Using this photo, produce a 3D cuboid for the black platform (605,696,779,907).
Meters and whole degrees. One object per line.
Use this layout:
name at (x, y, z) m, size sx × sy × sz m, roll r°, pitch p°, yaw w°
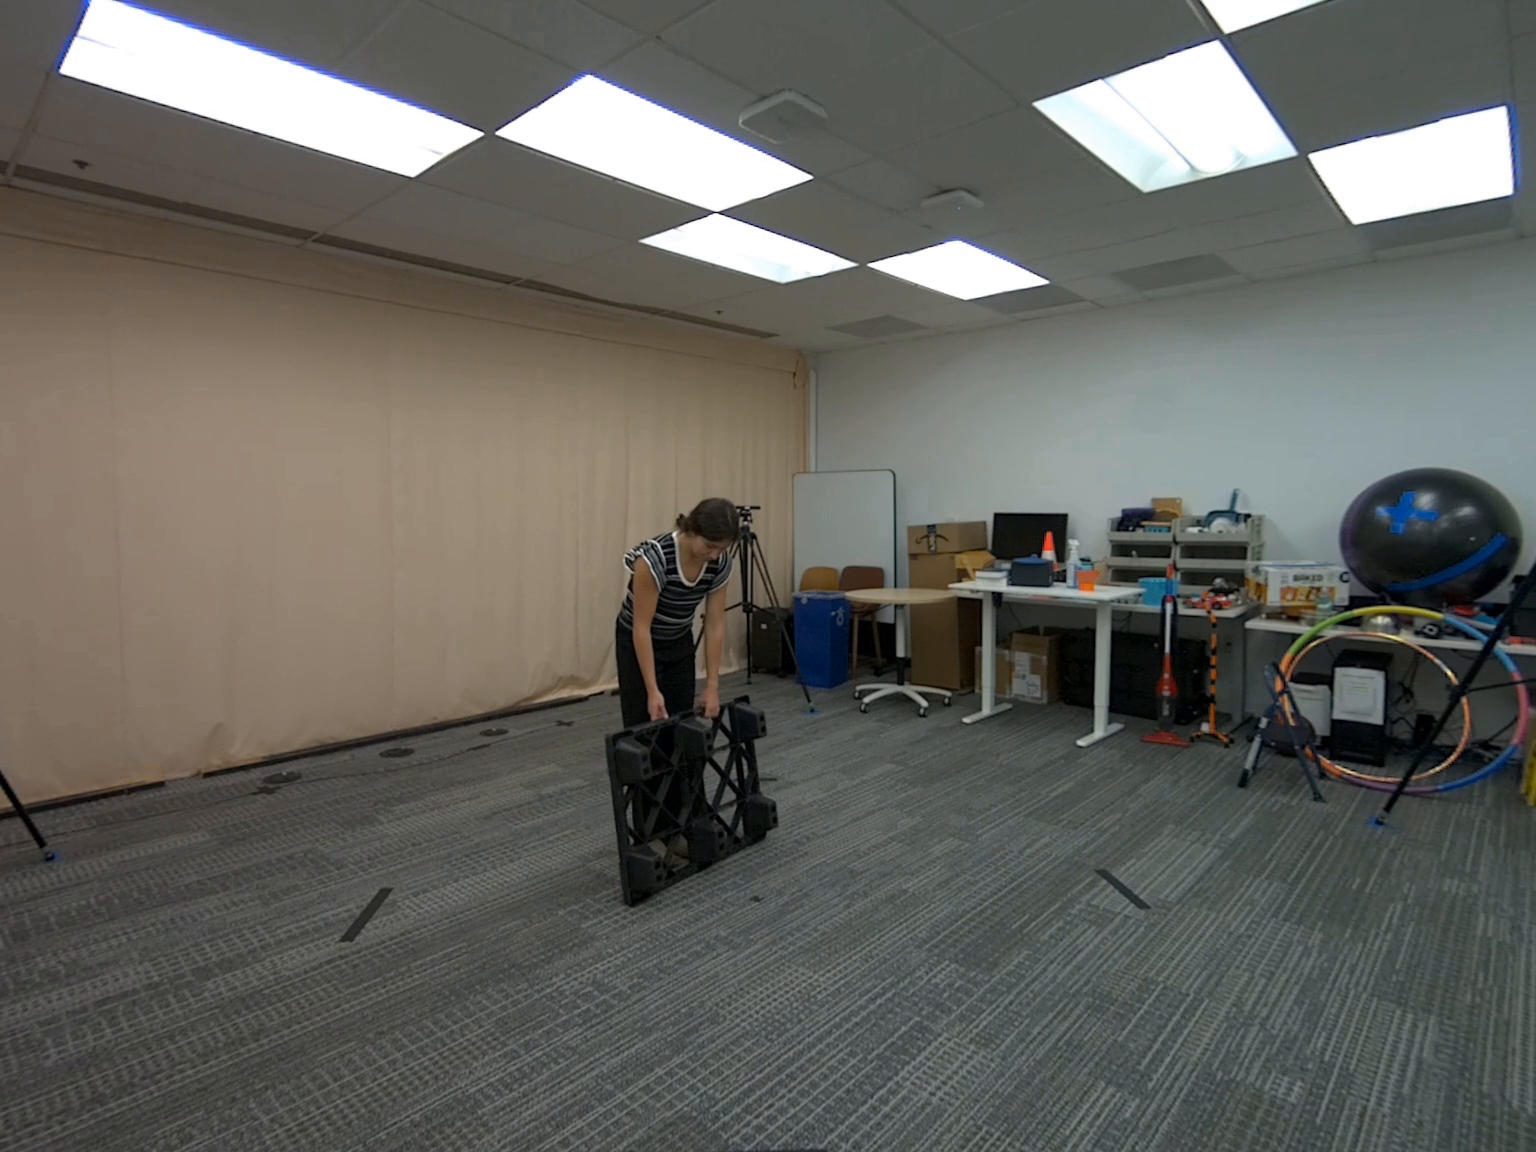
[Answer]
black platform at (-0.246, 0.814, 3.217) m, size 0.147 × 0.606 × 0.782 m, roll -8°, pitch -1°, yaw 38°
